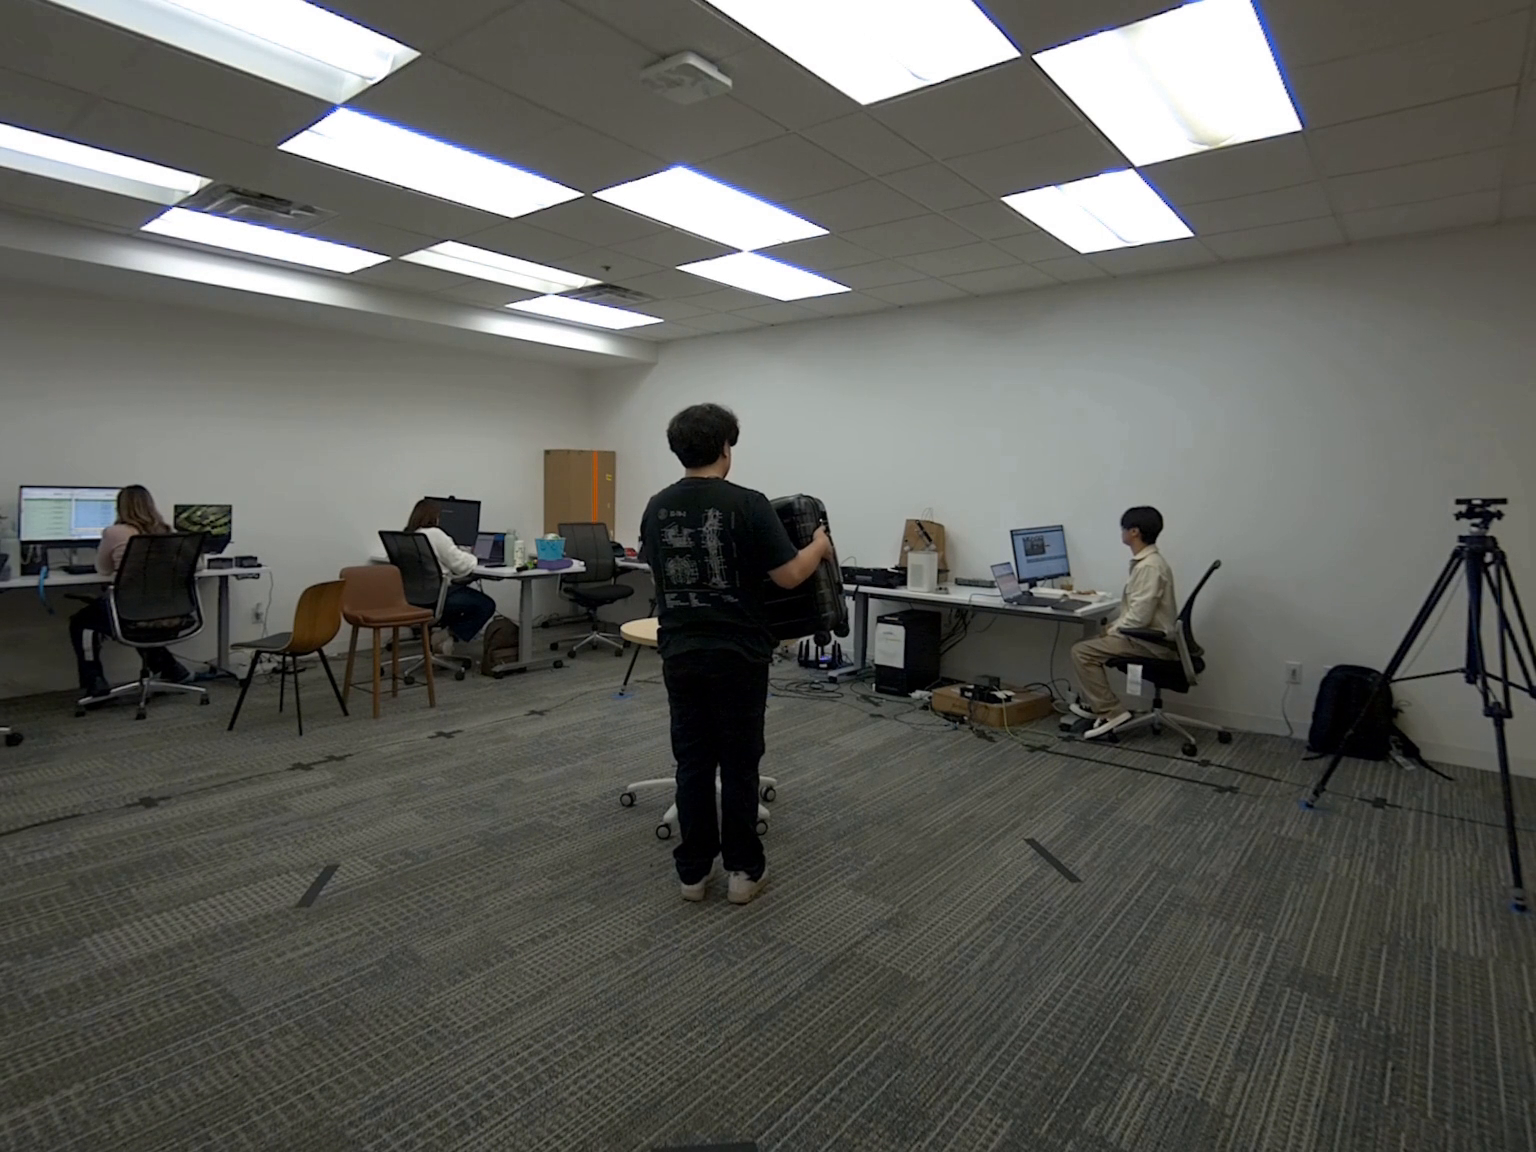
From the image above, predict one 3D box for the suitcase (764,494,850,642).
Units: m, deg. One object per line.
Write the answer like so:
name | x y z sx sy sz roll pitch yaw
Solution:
suitcase | 0.062 -0.018 3.130 0.383 0.551 0.243 -11 -2 27
